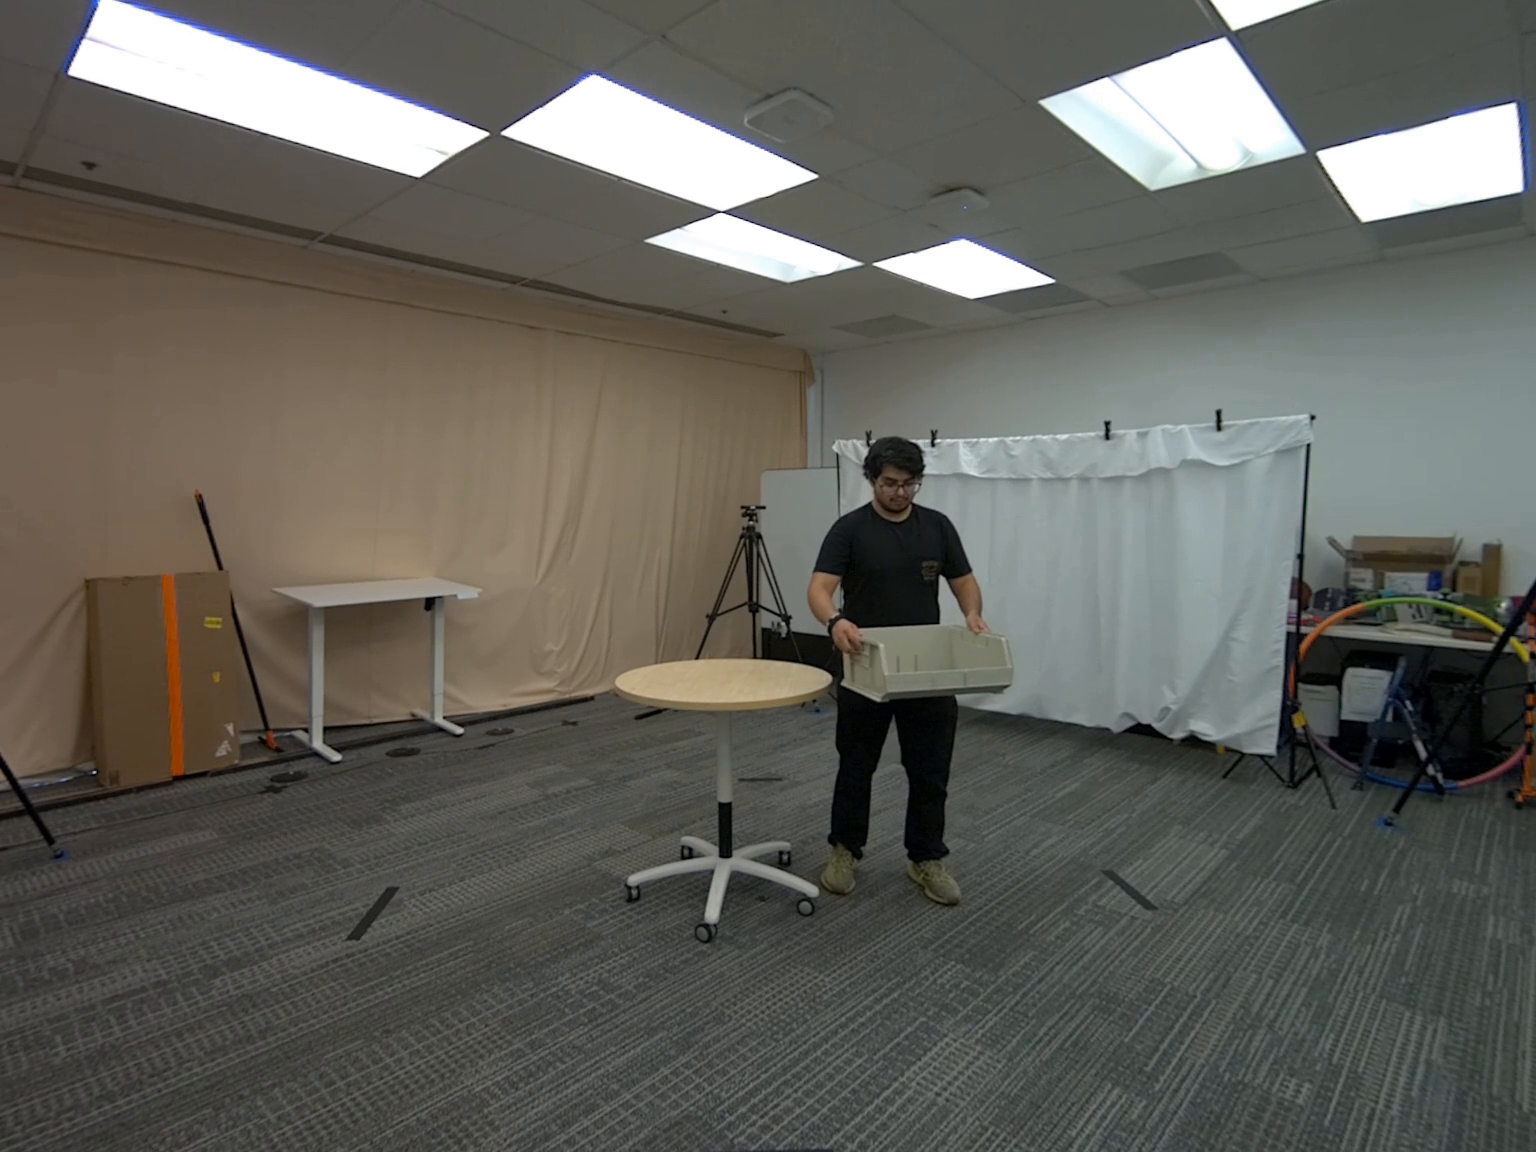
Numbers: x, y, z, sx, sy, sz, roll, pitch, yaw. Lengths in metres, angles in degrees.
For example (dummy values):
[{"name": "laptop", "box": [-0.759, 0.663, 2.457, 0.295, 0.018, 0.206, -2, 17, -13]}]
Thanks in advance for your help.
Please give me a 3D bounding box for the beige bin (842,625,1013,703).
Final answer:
[{"name": "beige bin", "box": [0.482, 0.277, 2.648, 0.416, 0.189, 0.383, -1, 2, -14]}]
